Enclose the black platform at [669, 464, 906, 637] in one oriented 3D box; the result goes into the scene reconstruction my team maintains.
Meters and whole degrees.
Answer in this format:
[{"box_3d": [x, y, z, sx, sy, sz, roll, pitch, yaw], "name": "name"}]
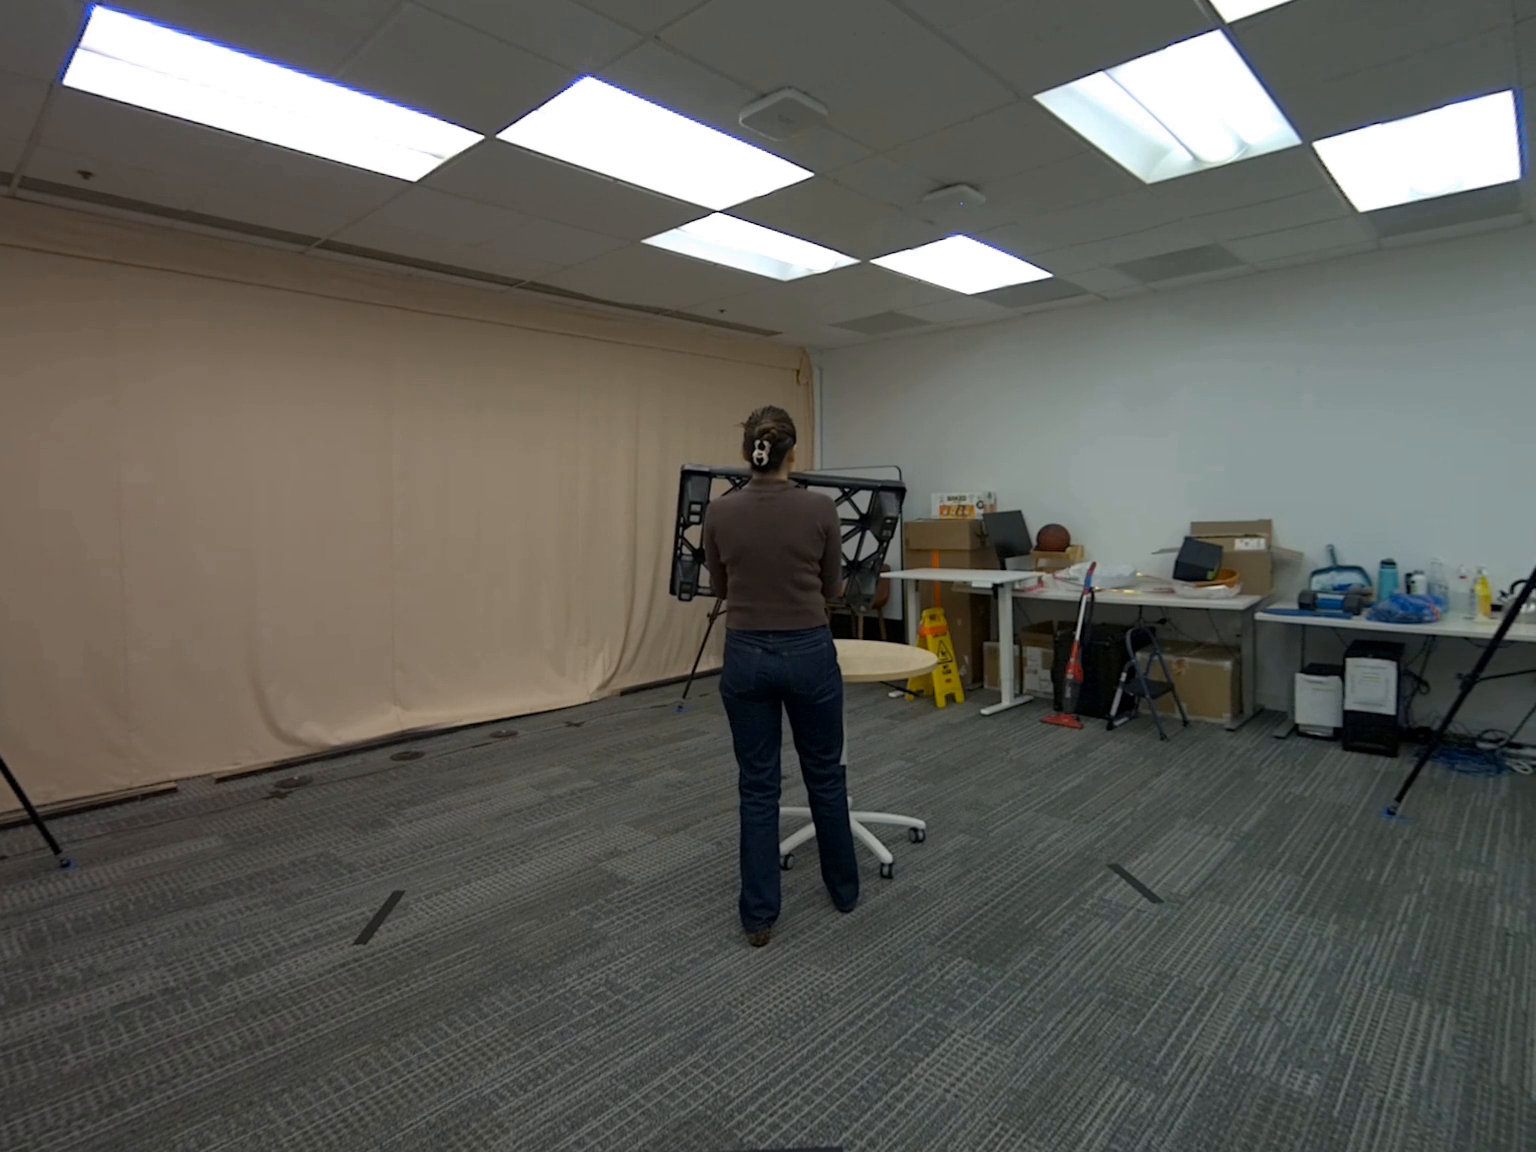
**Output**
[{"box_3d": [0.054, -0.092, 3.083, 0.801, 0.597, 0.146, 4, 38, -5], "name": "black platform"}]
